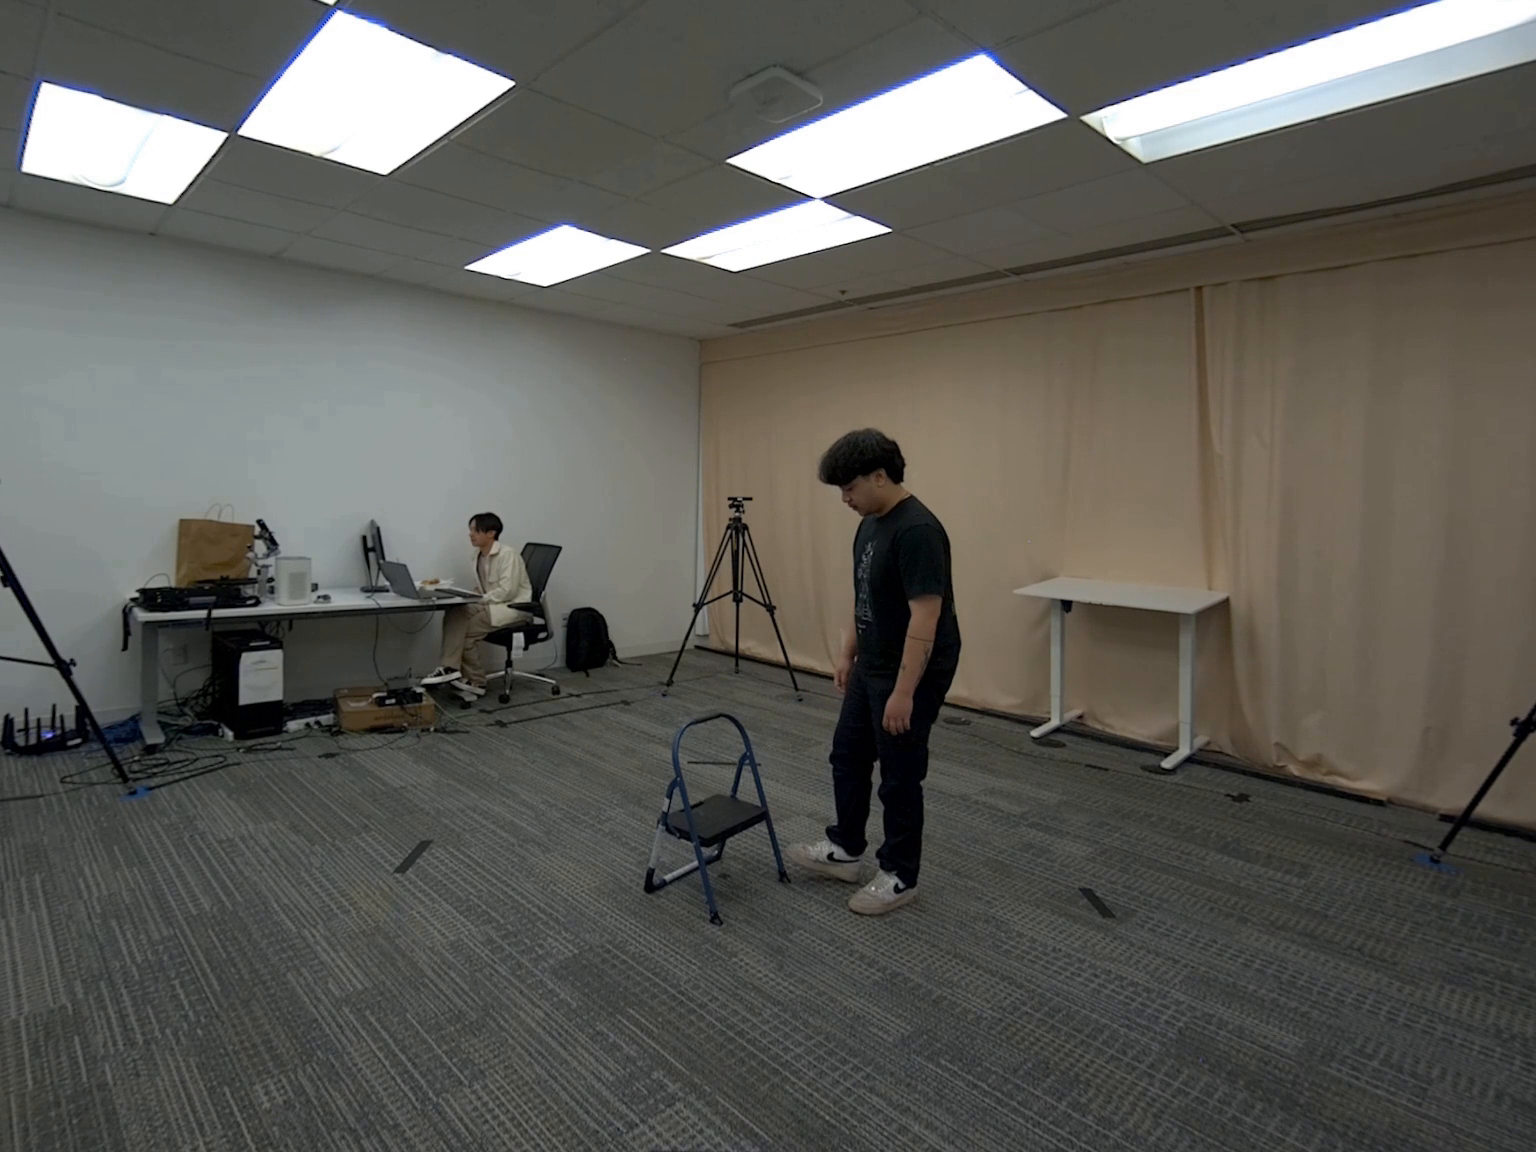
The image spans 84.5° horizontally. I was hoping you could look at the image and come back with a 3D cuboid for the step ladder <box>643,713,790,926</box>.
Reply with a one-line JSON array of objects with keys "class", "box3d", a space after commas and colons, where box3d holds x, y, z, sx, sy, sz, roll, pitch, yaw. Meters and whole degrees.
[{"class": "step ladder", "box3d": [-0.177, 0.809, 2.997, 0.358, 0.604, 0.421, 4, 5, 37]}]
